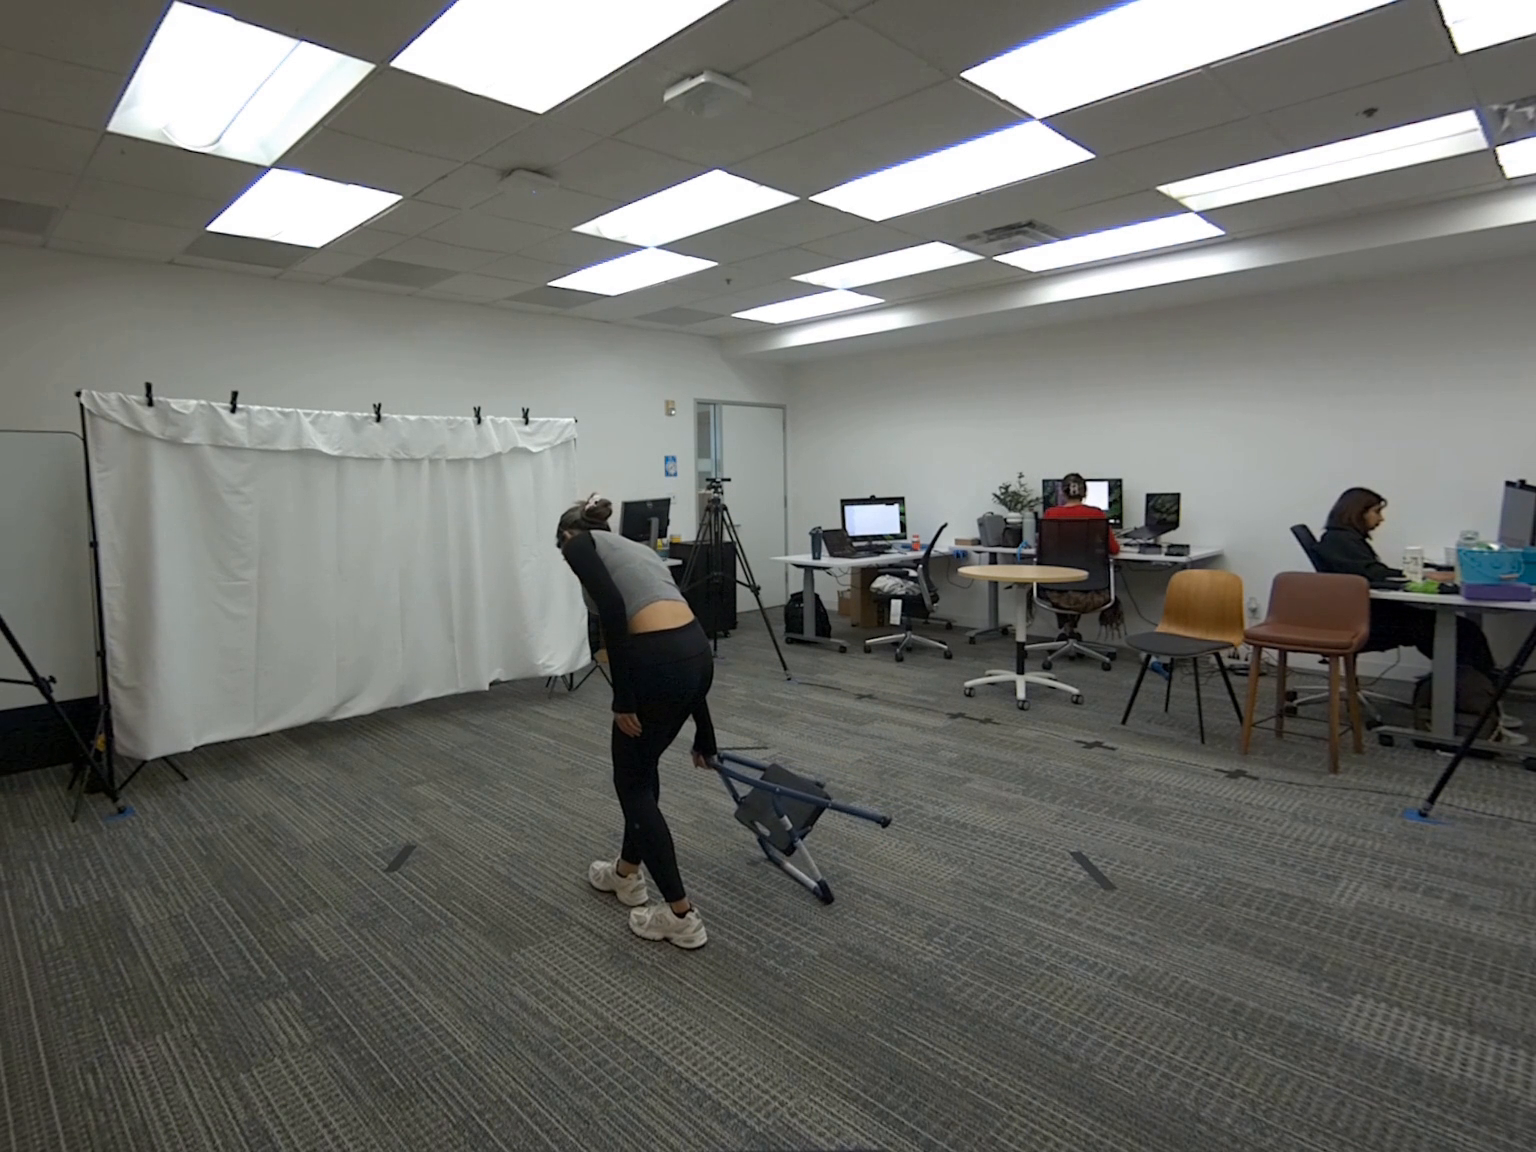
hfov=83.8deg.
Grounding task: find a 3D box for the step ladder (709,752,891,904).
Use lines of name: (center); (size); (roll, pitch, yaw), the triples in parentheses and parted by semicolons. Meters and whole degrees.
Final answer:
step ladder: (0.026, 0.732, 2.918); (0.590, 0.350, 0.442); (47, -19, -23)
